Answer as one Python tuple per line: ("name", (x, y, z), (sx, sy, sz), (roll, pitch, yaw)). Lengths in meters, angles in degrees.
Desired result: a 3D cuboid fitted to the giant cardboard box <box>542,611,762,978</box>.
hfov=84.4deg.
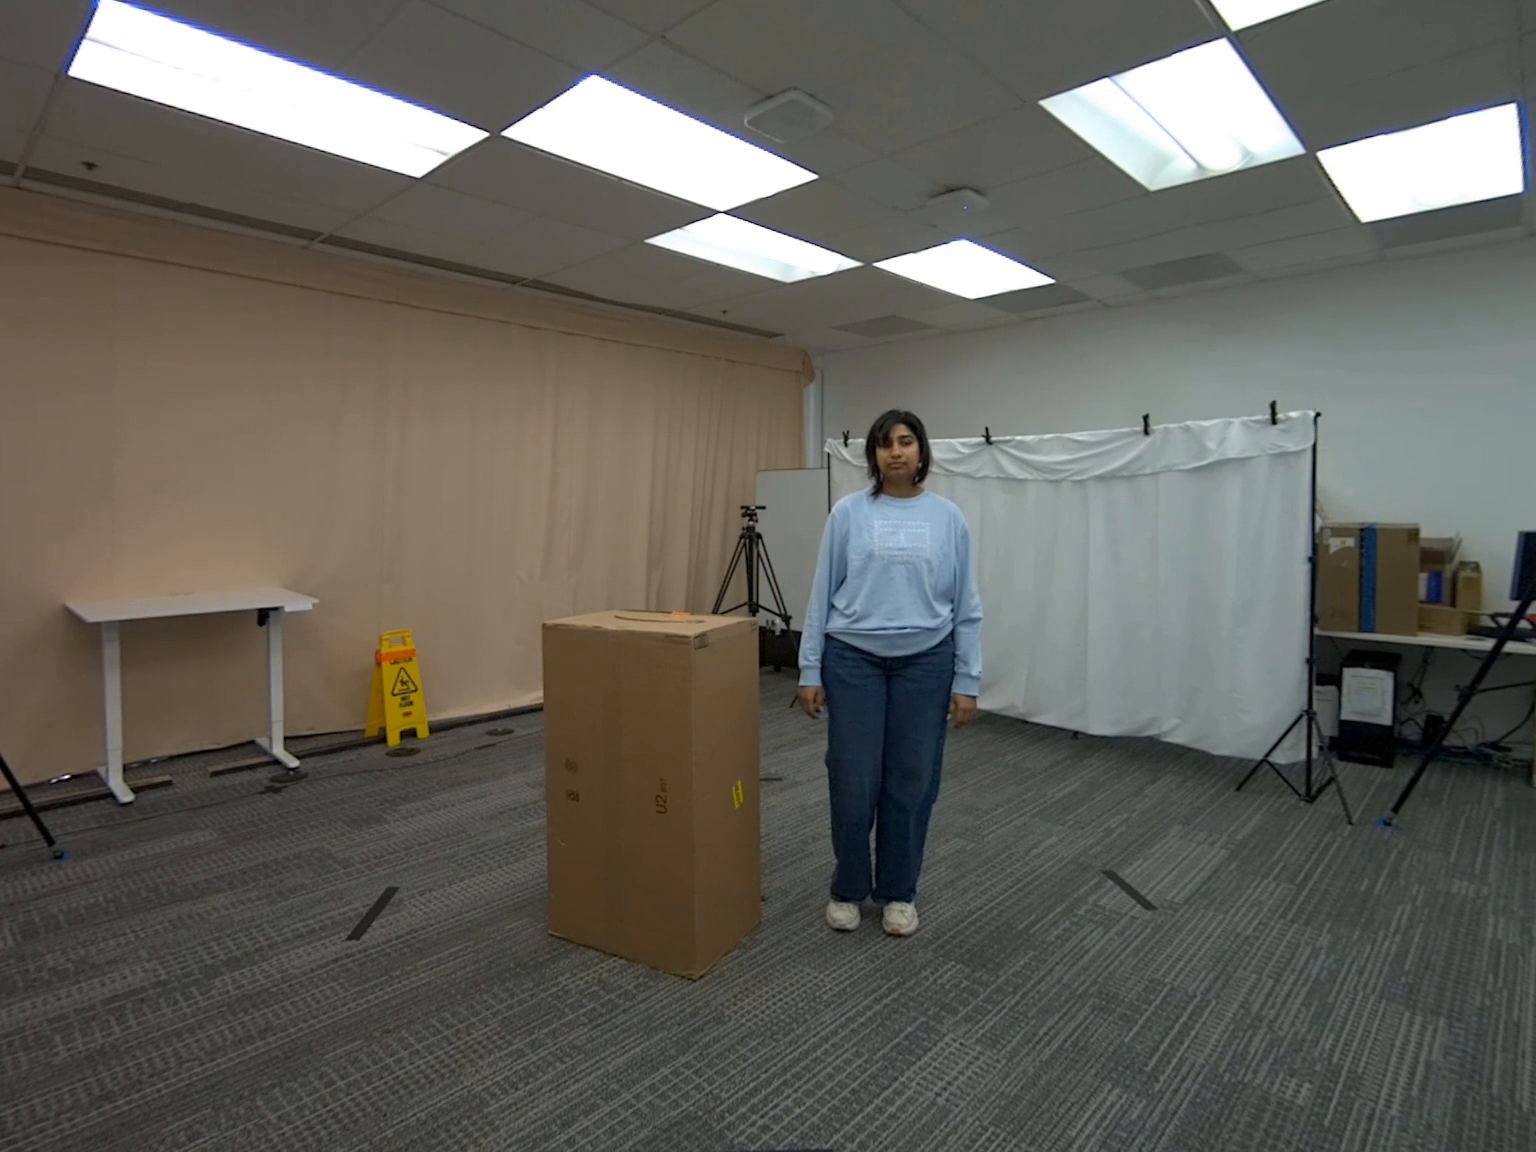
("giant cardboard box", (-0.376, 0.658, 2.768), (0.600, 1.025, 0.435), (1, 4, 29))
